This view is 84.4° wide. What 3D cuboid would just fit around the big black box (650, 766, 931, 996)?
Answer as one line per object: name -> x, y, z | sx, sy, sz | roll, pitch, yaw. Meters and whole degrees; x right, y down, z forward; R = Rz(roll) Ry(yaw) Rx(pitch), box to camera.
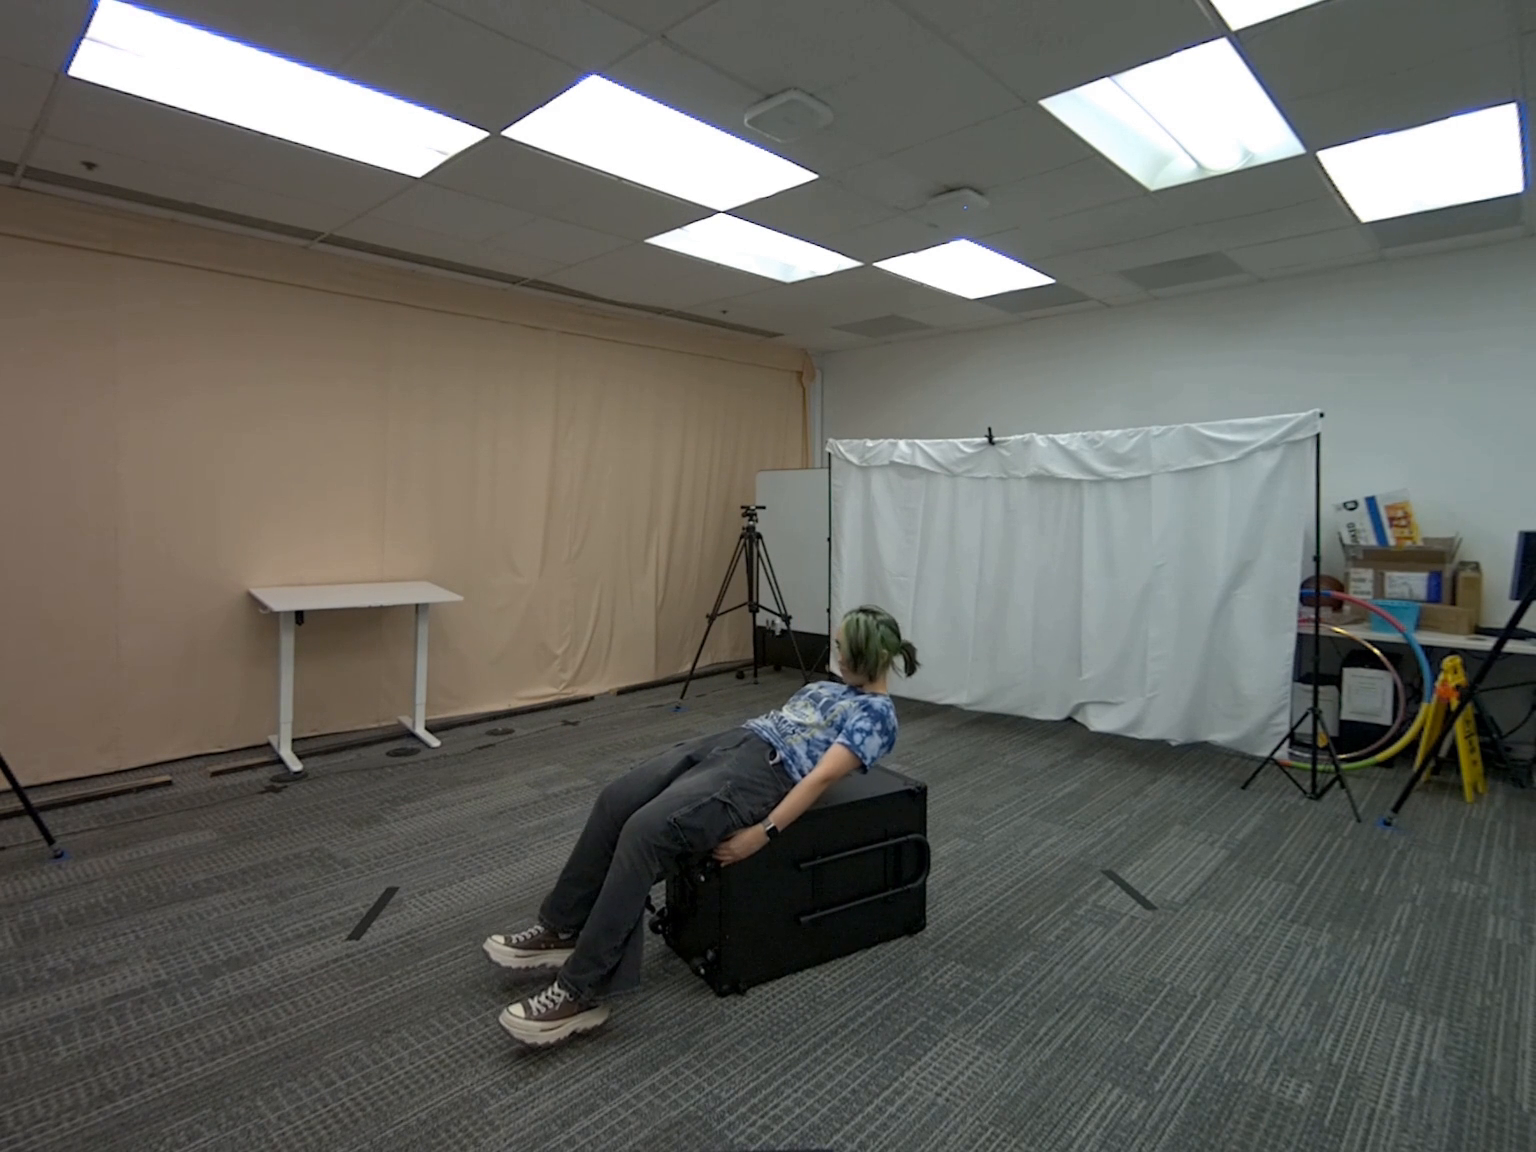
big black box -> 0.082, 0.927, 2.686 | 0.839, 0.520, 0.408 | -4, 5, -29
